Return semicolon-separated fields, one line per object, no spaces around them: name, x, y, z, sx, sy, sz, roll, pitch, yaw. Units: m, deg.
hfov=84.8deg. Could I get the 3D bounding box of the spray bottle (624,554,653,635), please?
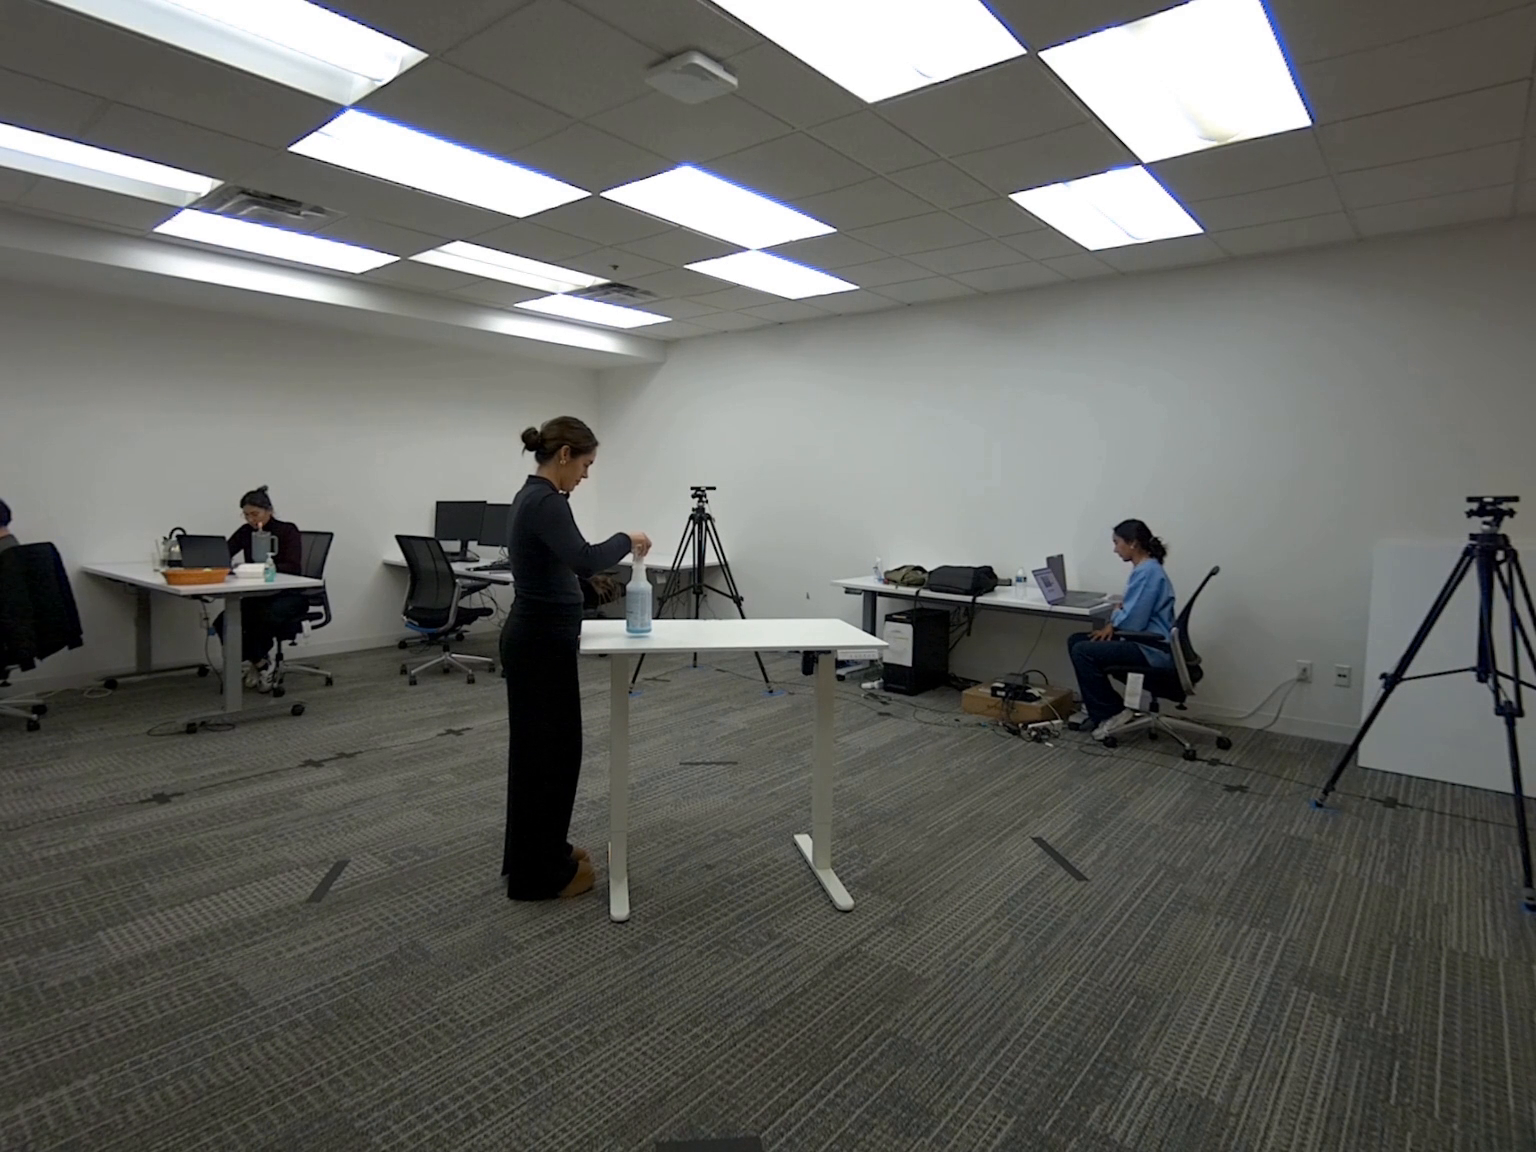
spray bottle;-0.457;0.045;2.880;0.090;0.296;0.087;2;5;41
